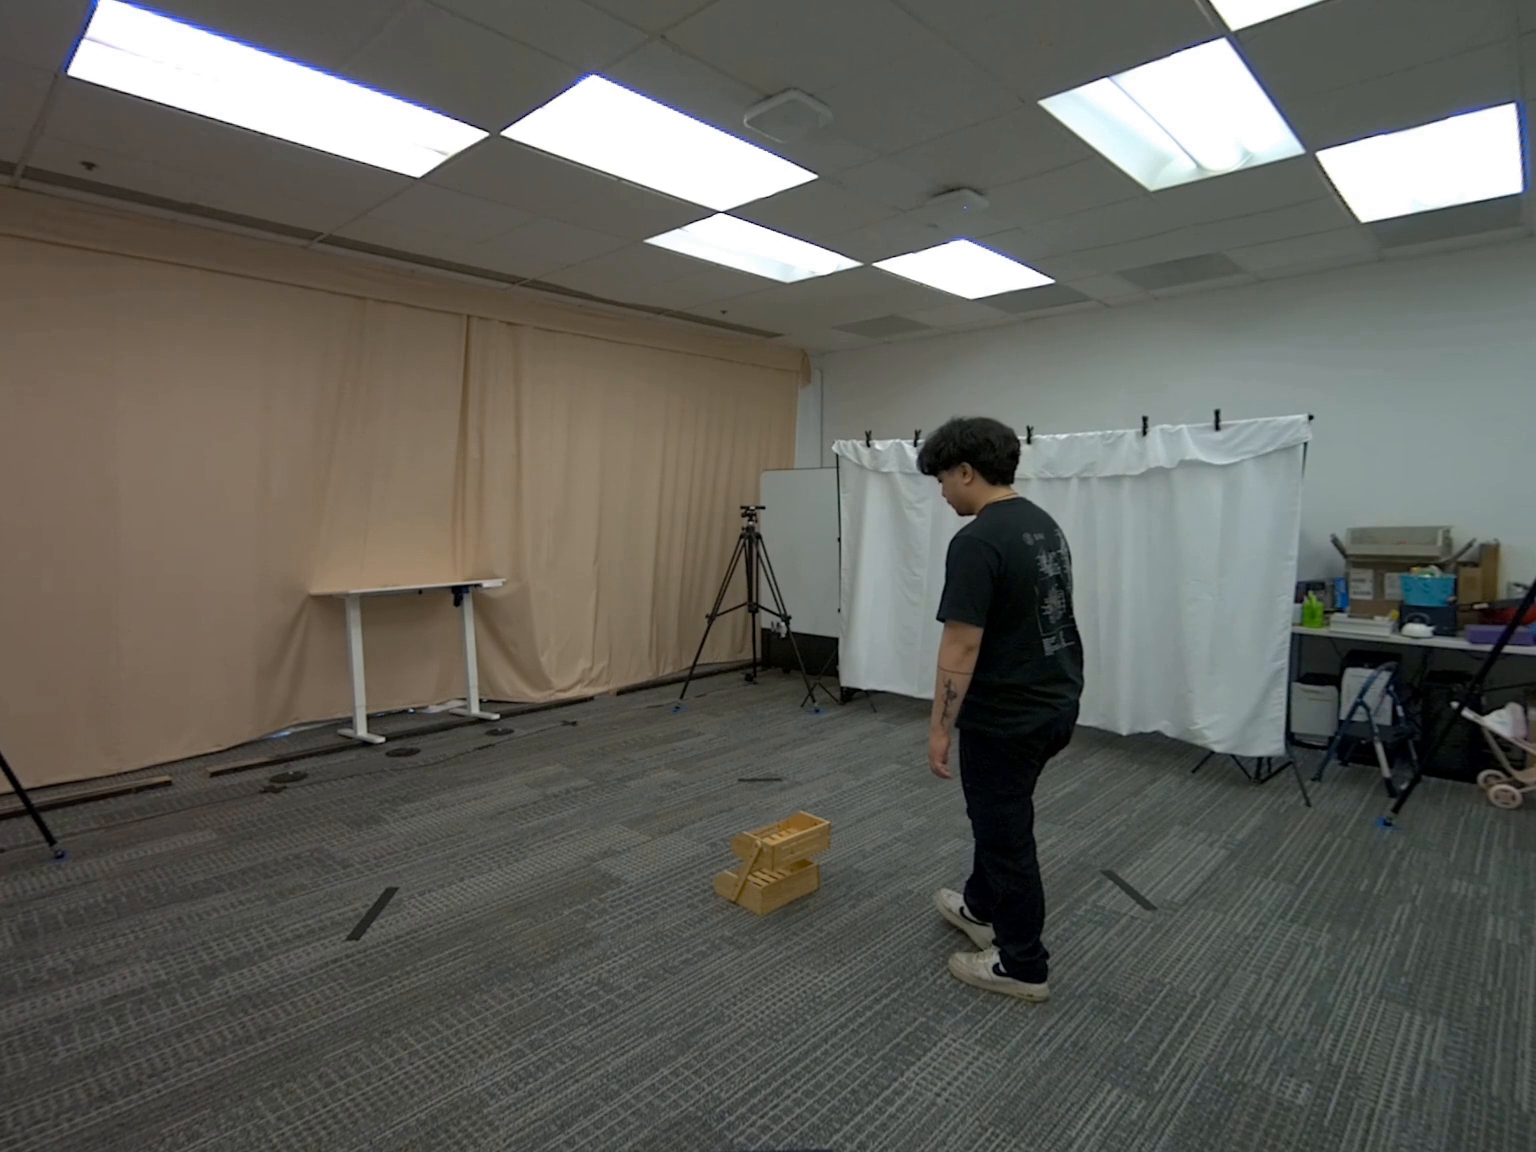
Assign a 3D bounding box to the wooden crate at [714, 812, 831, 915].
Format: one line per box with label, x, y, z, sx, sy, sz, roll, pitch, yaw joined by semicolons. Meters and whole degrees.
wooden crate;0.014;1.005;3.030;0.314;0.272;0.312;-4;6;-44
